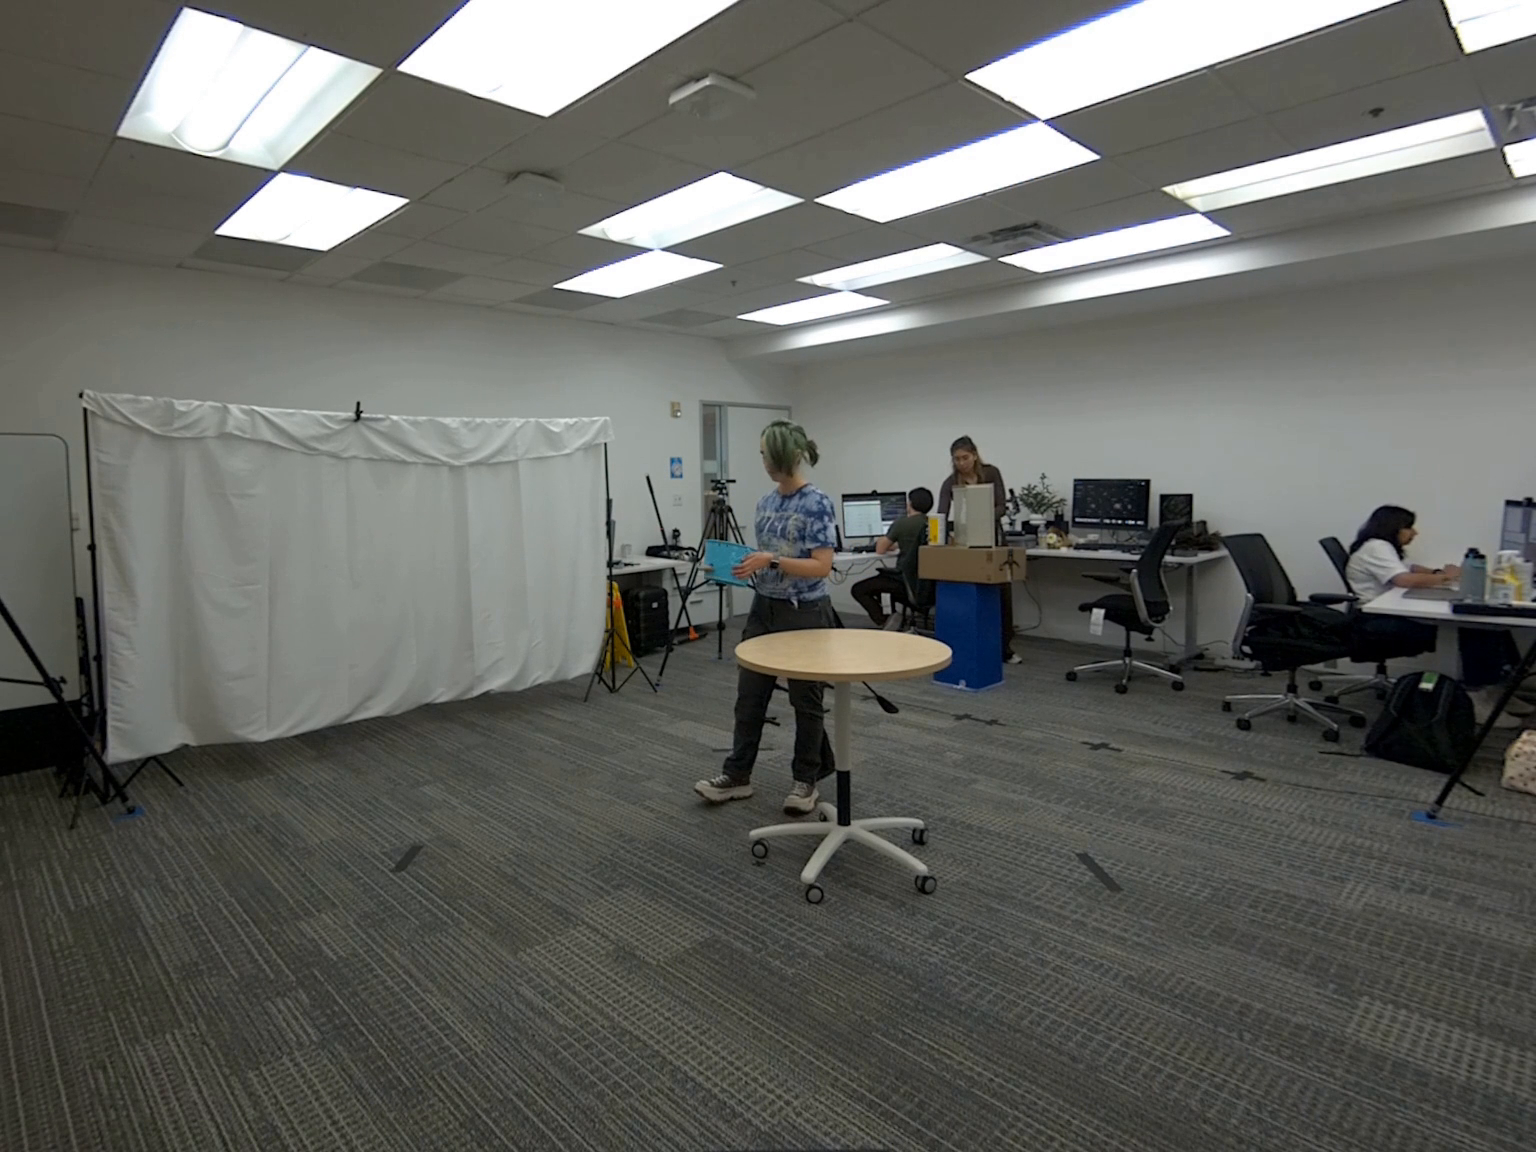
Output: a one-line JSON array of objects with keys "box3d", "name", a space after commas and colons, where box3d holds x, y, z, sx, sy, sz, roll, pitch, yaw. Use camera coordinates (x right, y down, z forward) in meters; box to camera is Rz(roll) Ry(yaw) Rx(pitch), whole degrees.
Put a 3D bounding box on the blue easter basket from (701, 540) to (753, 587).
[{"box3d": [-0.162, -0.042, 3.513, 0.244, 0.157, 0.242, 14, -7, 0], "name": "blue easter basket"}]
